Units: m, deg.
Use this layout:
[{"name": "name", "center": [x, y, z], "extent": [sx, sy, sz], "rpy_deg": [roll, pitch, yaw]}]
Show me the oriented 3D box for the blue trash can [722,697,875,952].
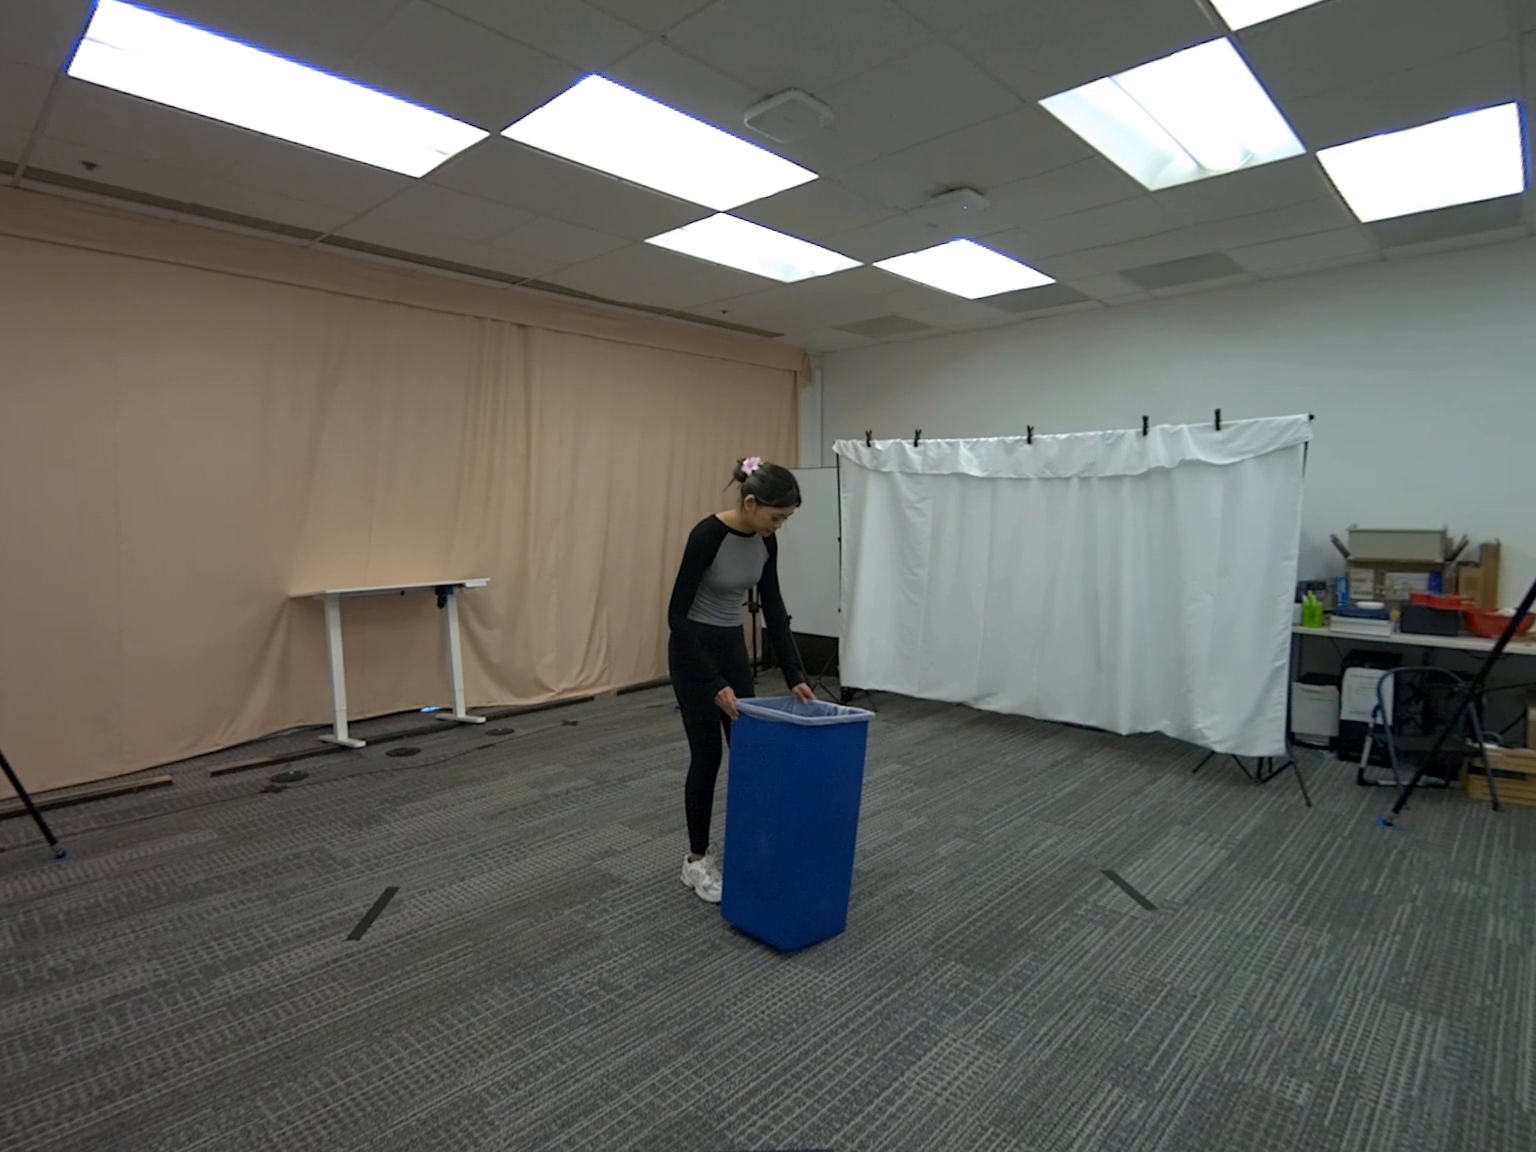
[{"name": "blue trash can", "center": [0.084, 0.787, 2.773], "extent": [0.390, 0.714, 0.361], "rpy_deg": [3, -4, 44]}]
